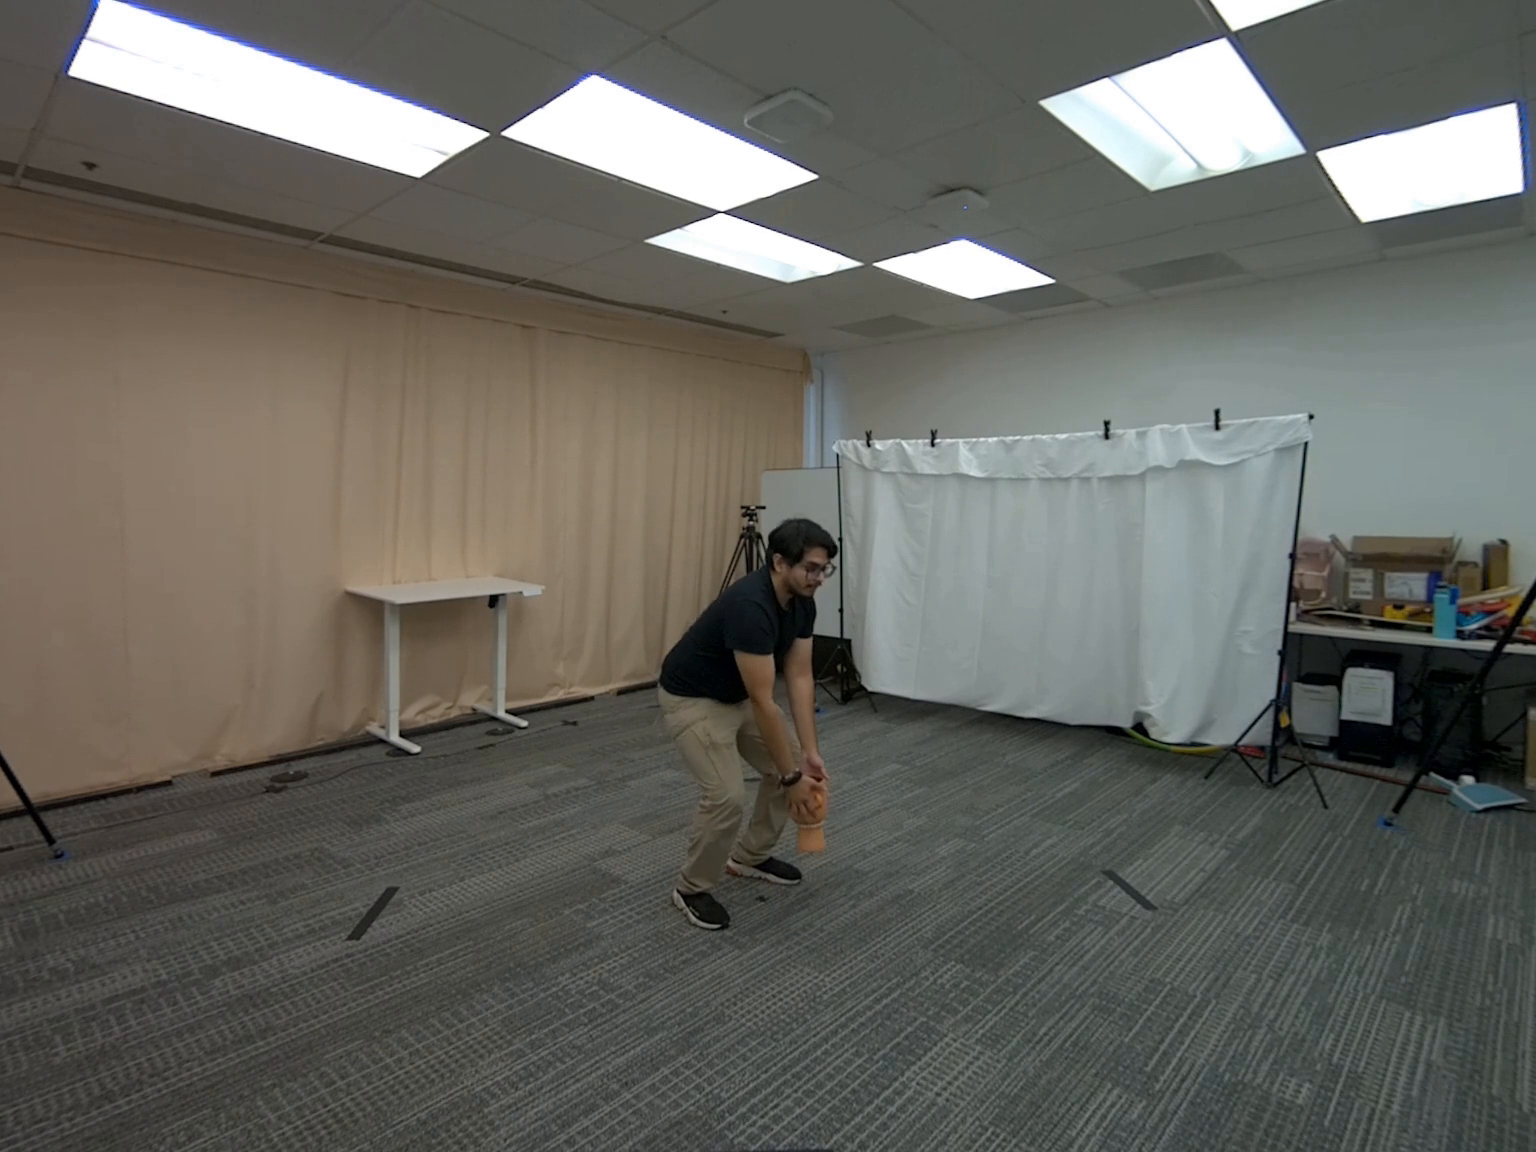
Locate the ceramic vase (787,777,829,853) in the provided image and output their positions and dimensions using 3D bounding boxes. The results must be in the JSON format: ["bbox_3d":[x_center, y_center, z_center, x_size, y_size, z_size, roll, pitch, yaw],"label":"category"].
[{"bbox_3d":[0.131,0.779,2.777,0.136,0.219,0.157,-5,2,10],"label":"ceramic vase"}]
